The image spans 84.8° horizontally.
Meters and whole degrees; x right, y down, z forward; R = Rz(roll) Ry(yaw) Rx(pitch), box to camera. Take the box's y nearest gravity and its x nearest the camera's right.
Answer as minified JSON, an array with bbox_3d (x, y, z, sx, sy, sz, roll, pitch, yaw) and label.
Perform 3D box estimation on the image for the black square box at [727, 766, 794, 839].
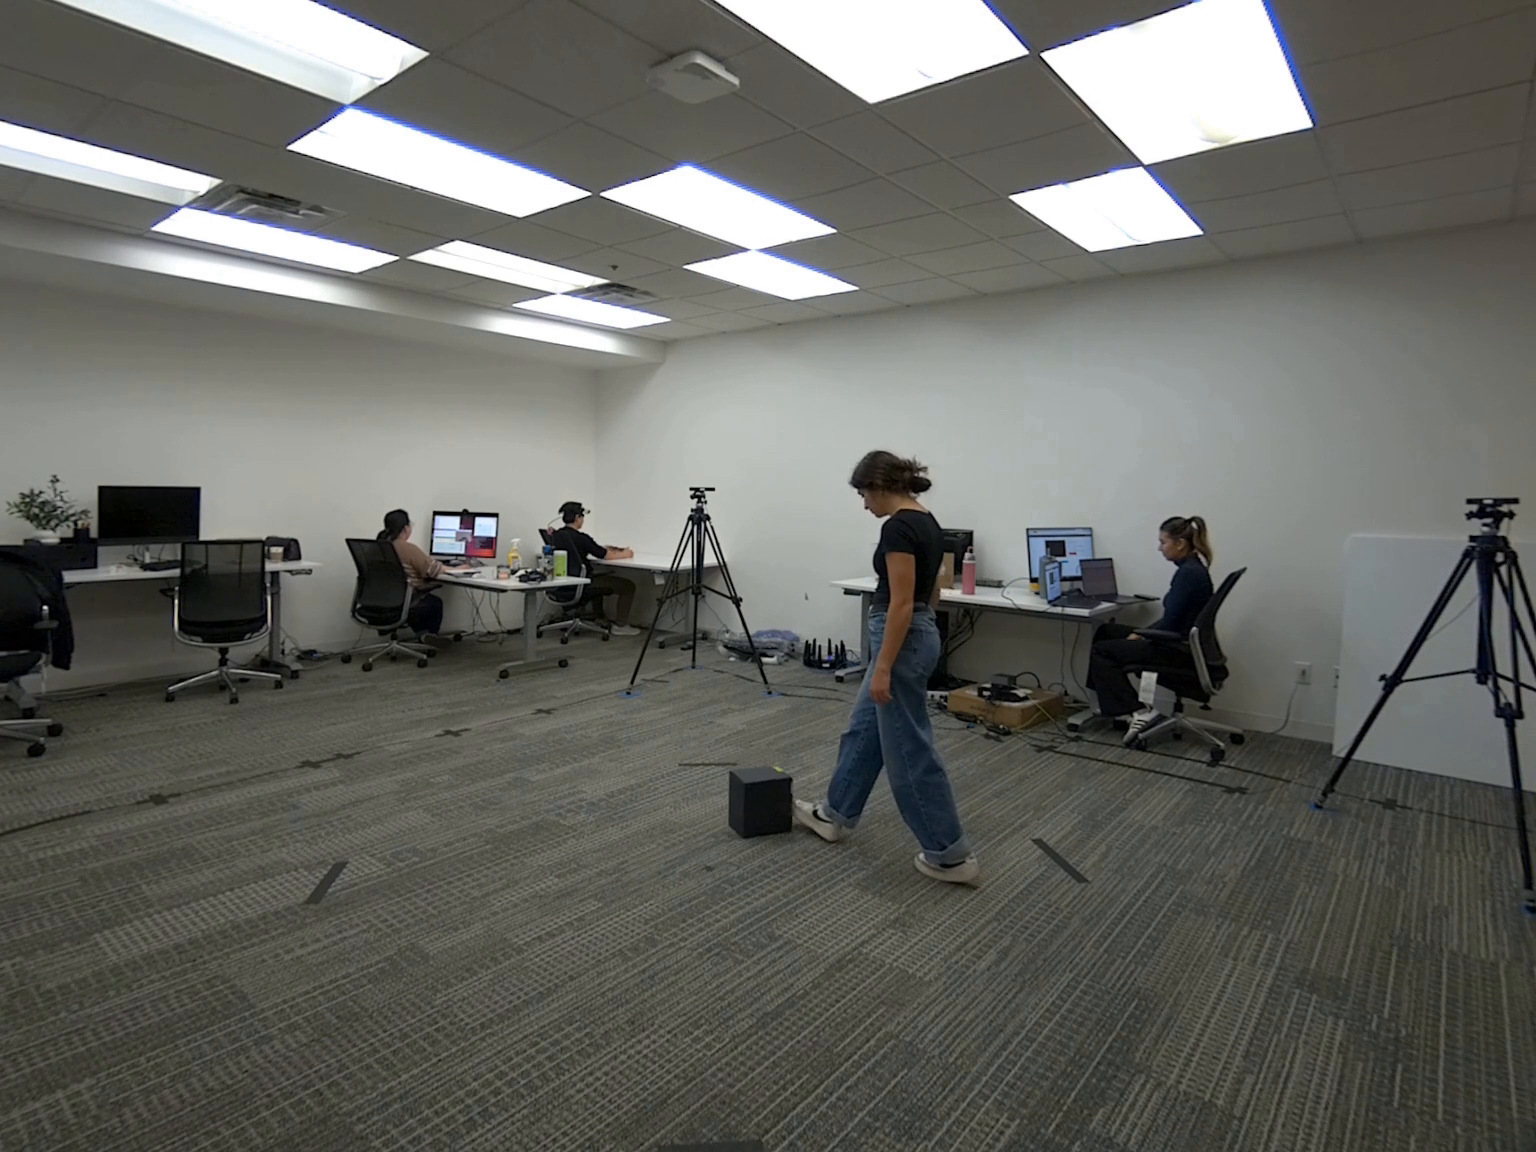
[{"bbox_3d":[-0.028,0.913,3.481,0.212,0.227,0.160,0,4,-24],"label":"black square box"}]
